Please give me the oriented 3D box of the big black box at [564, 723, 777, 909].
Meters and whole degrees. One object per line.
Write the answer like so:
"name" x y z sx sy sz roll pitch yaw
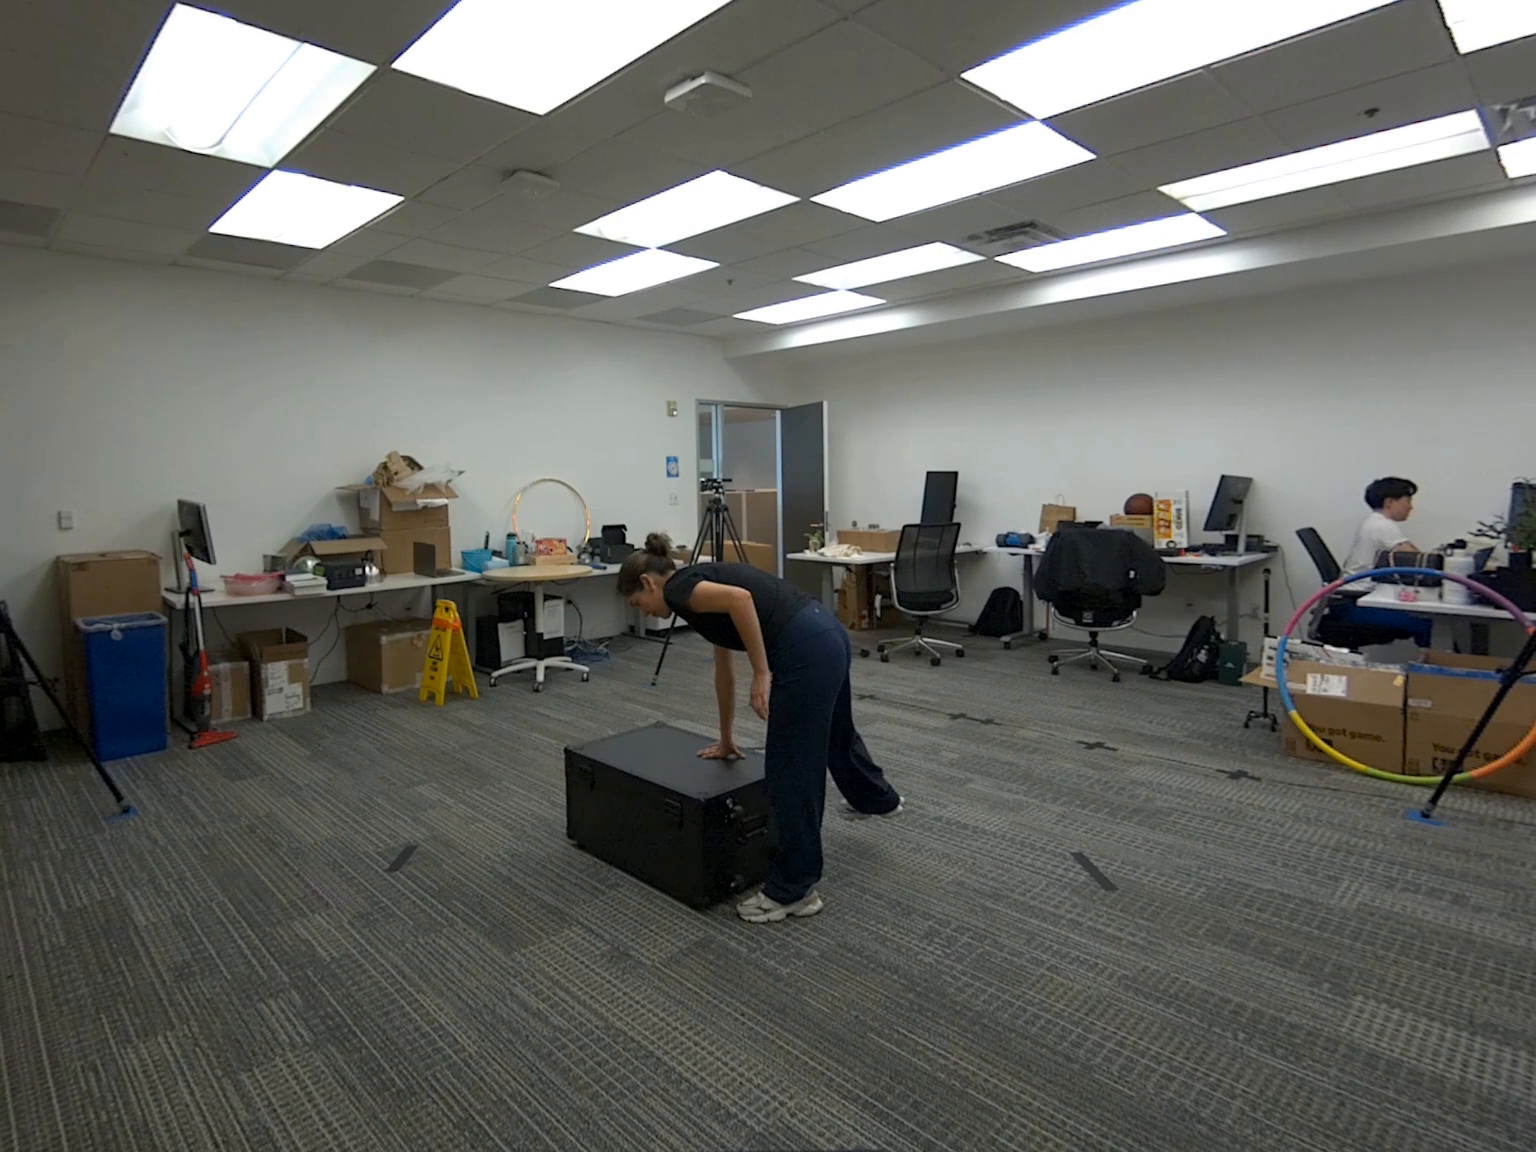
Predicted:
"big black box" -0.307 0.835 3.167 0.889 0.394 0.507 6 9 44
